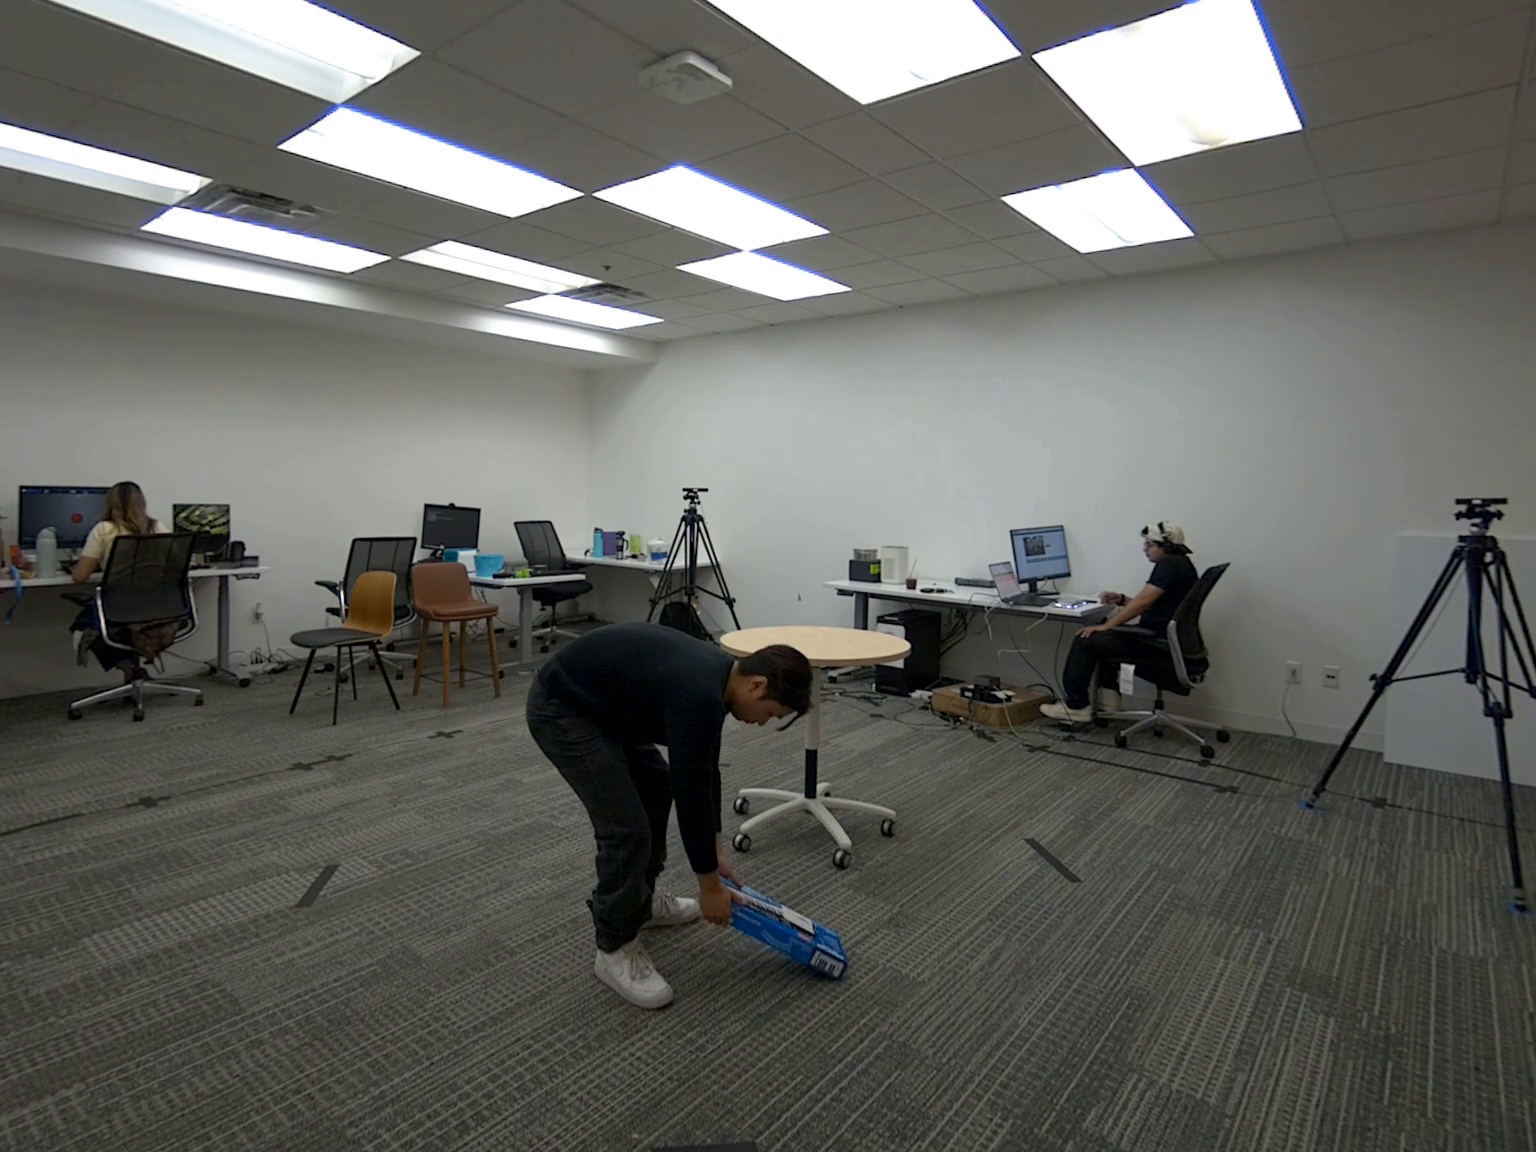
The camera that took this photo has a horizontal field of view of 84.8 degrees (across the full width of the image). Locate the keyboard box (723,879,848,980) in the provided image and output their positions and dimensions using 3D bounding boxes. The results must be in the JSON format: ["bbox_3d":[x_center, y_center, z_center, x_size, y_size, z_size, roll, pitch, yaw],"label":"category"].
[{"bbox_3d":[0.007,1.010,2.478,0.434,0.059,0.177,28,1,-4],"label":"keyboard box"}]
